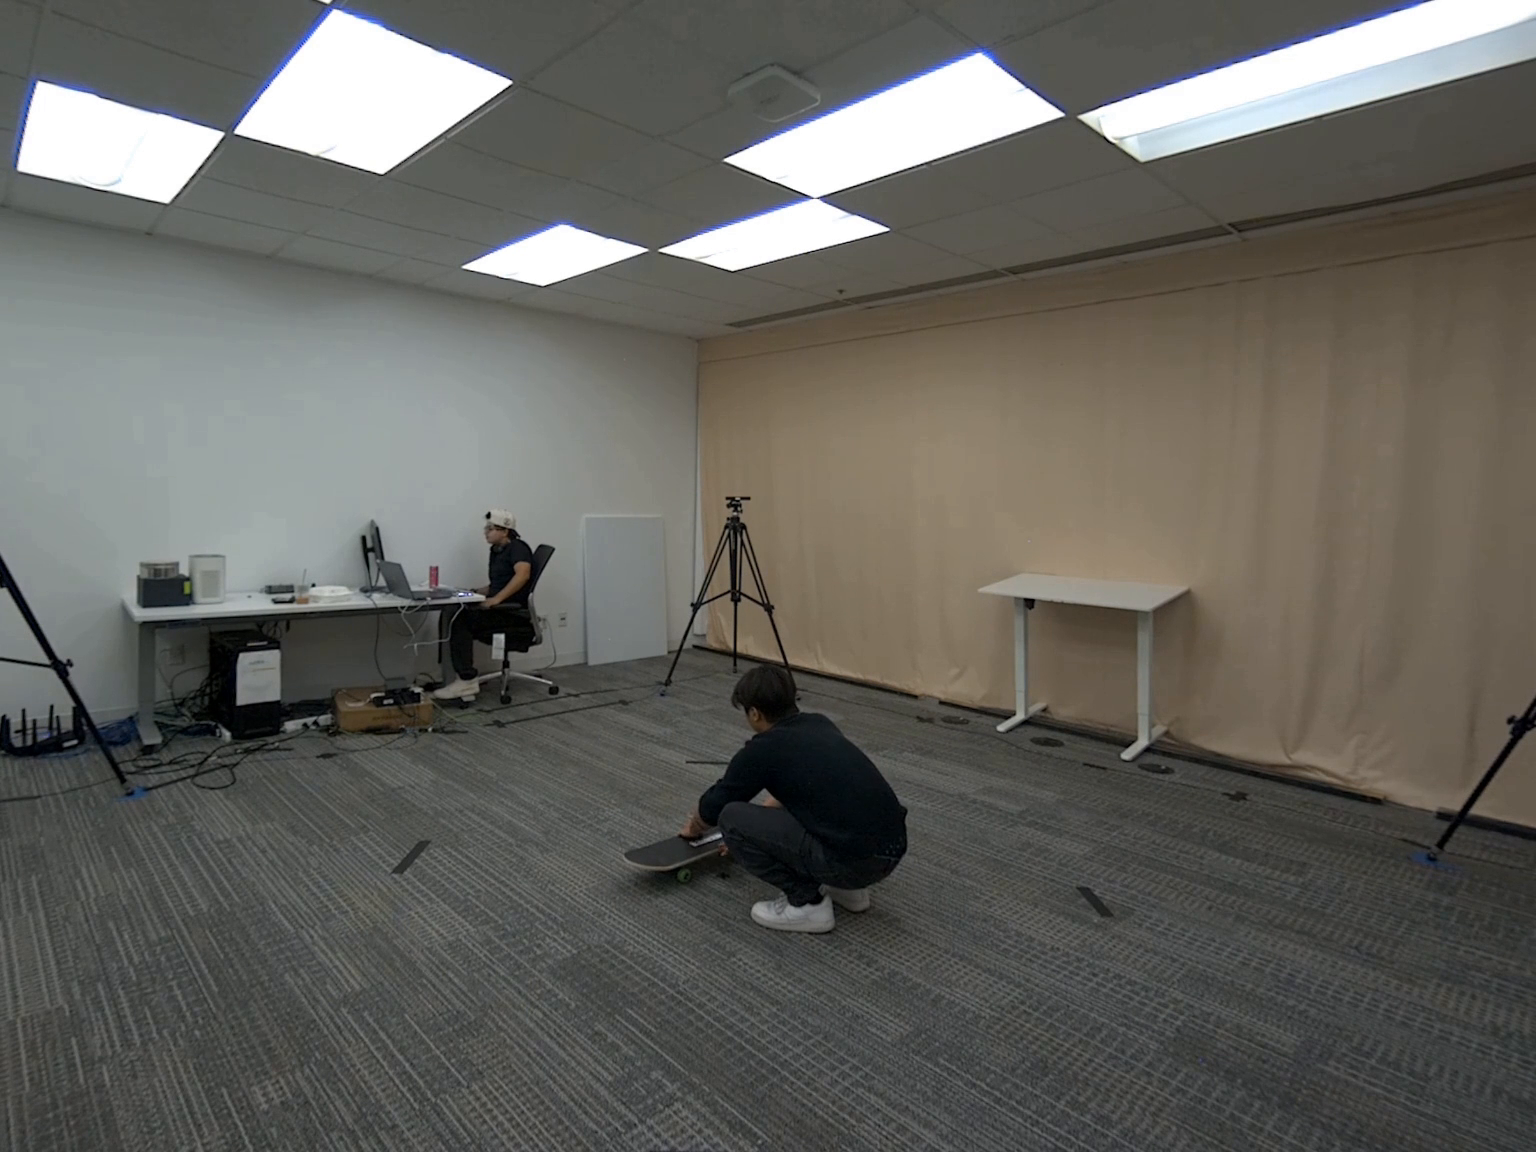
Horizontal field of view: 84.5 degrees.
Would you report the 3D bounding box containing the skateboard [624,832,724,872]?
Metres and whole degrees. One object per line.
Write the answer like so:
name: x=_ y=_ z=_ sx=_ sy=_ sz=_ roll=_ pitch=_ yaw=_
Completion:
skateboard: x=-0.219 y=1.031 z=3.229 sx=0.767 sy=0.110 sz=0.198 roll=-3 pitch=6 yaw=-44
